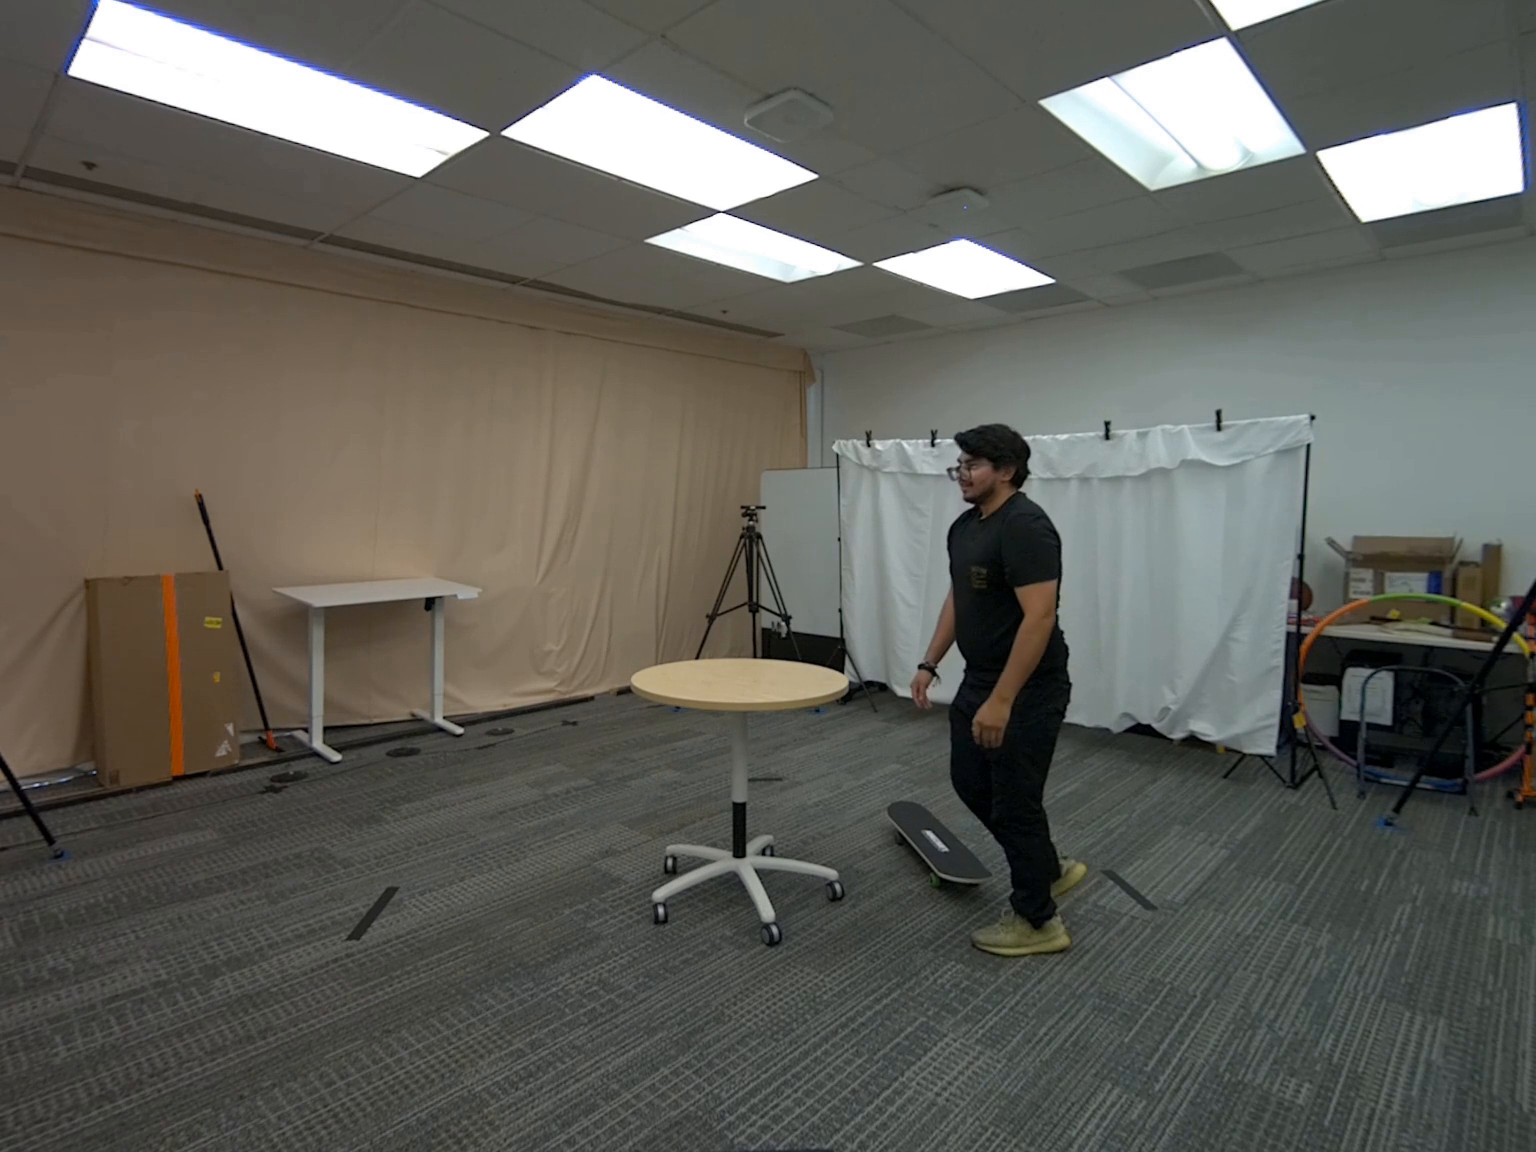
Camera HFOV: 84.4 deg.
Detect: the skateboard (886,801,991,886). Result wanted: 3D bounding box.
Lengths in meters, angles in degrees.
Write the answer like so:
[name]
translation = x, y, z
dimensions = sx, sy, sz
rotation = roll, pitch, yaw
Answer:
[skateboard]
translation = 0.653, 1.061, 3.275
dimensions = 0.192, 0.110, 0.794
rotation = -1, 5, -10
